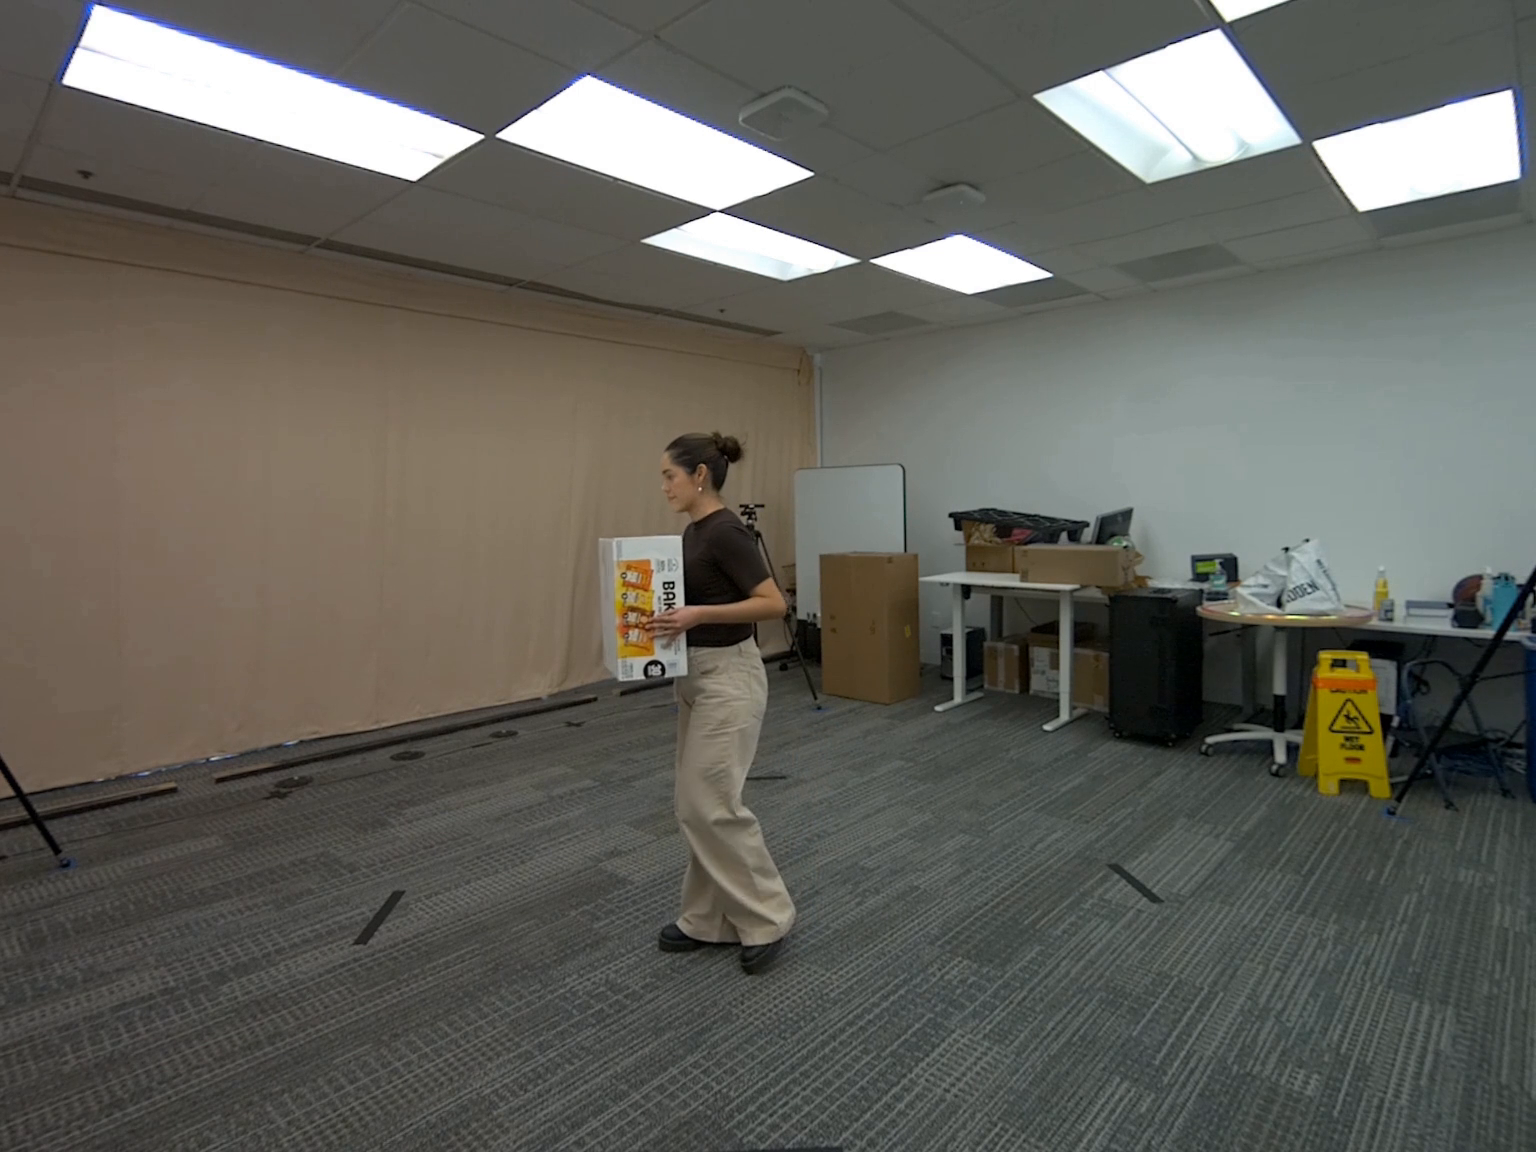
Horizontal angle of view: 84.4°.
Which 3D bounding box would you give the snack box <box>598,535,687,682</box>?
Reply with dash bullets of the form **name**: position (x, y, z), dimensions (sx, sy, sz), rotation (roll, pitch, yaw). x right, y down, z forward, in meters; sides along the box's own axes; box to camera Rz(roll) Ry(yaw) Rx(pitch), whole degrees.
- **snack box**: position (-0.388, 0.086, 2.558), dimensions (0.202, 0.405, 0.346), rotation (-3, 2, -16)
